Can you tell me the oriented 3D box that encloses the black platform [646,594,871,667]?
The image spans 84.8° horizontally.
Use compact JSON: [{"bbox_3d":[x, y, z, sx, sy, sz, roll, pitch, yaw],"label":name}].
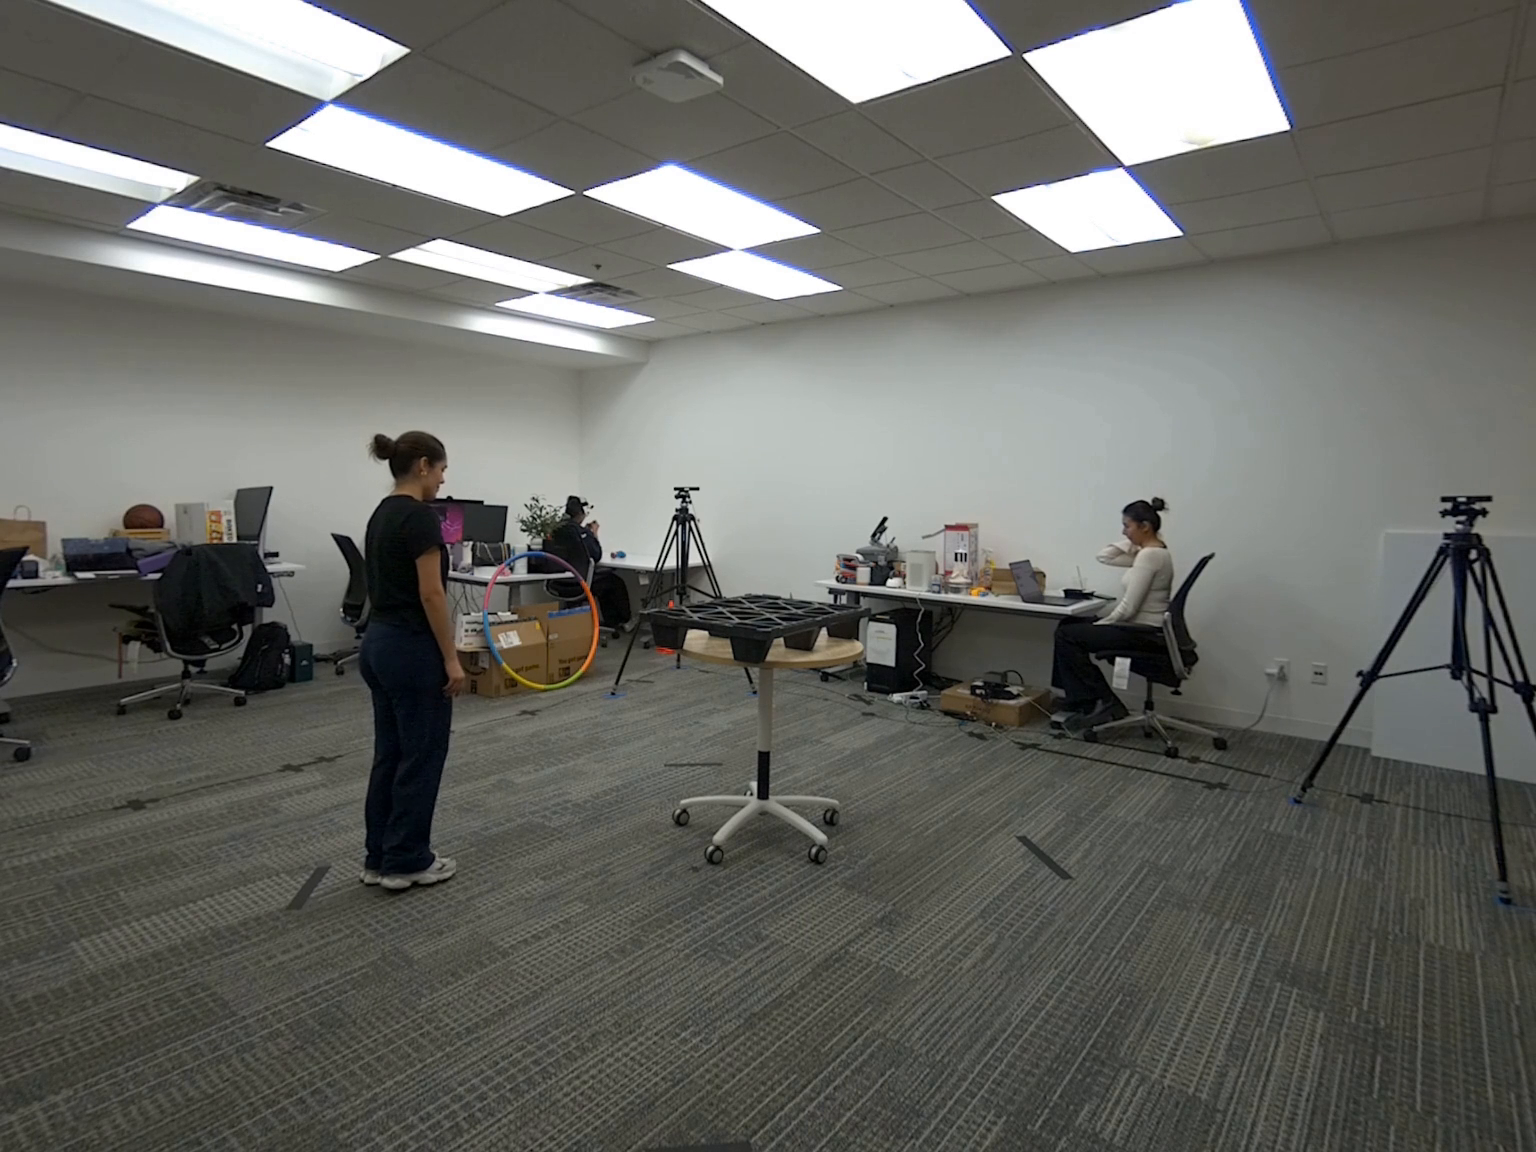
[{"bbox_3d":[-0.012,0.199,3.396,0.625,0.142,0.783,6,8,36],"label":"black platform"}]
